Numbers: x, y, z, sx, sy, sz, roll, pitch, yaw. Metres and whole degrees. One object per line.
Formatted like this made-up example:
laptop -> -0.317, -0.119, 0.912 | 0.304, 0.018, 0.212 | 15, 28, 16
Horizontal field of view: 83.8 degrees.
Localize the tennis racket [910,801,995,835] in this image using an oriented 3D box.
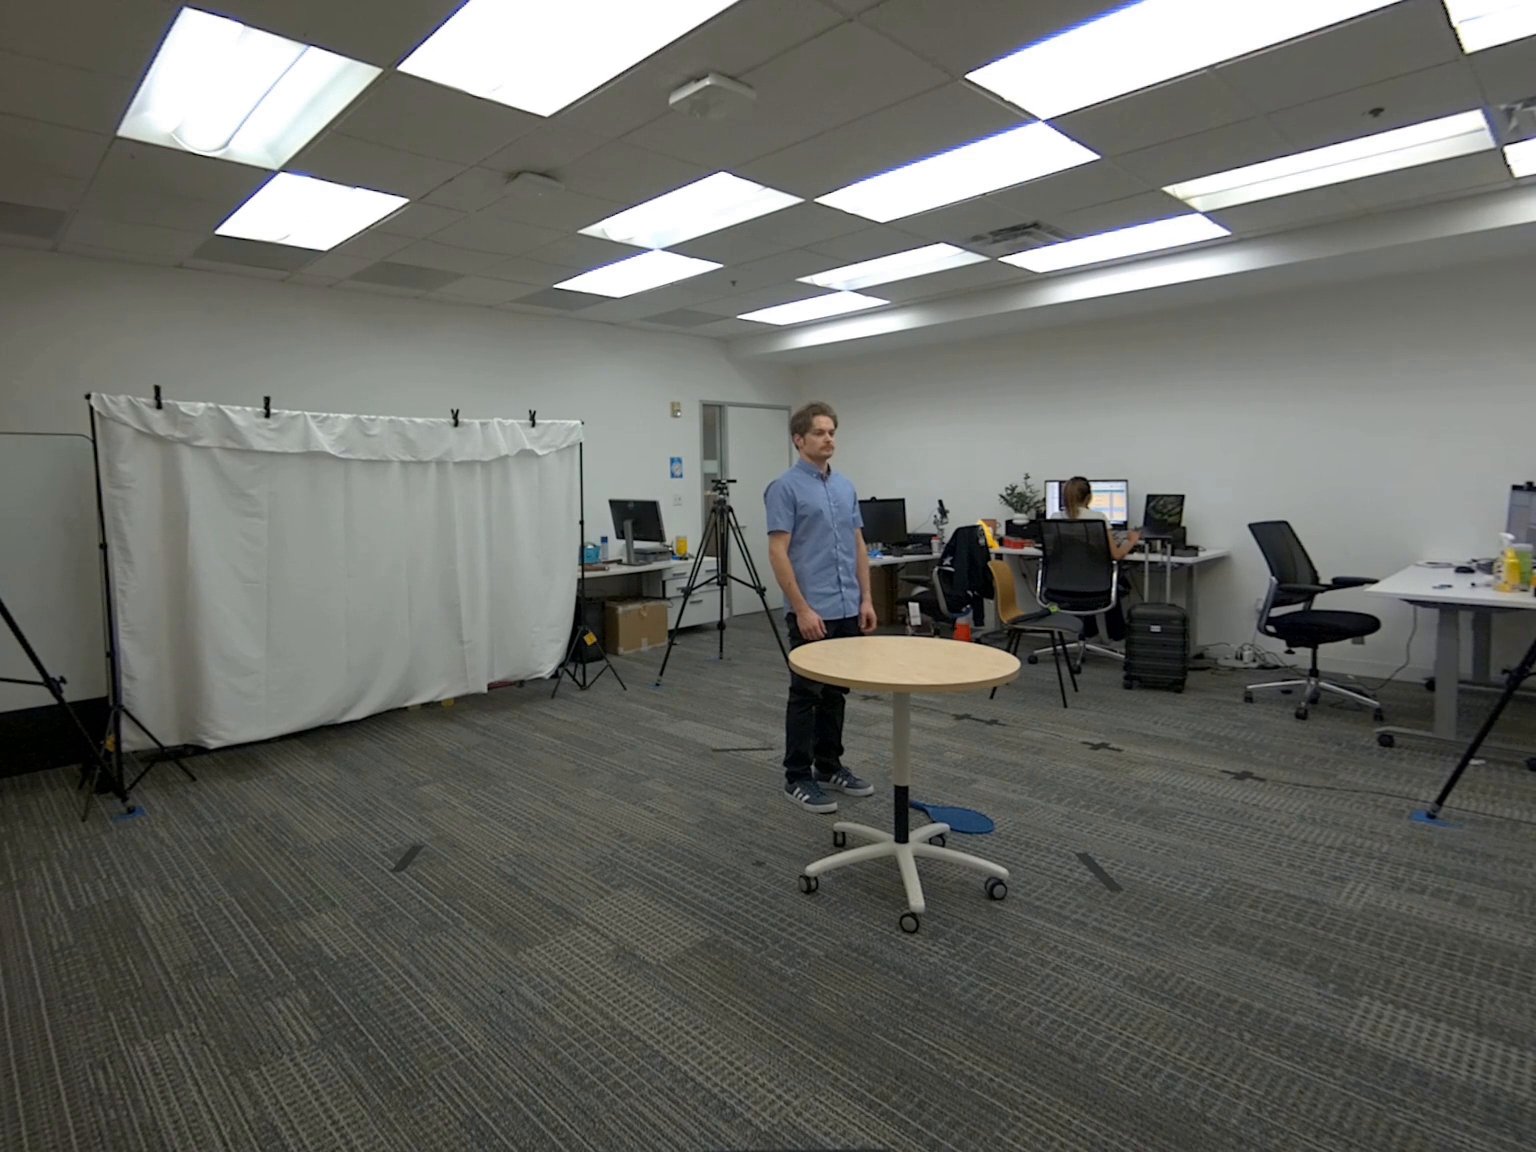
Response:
tennis racket -> 0.725, 0.978, 3.517 | 0.447, 0.031, 0.208 | 7, 10, 44
